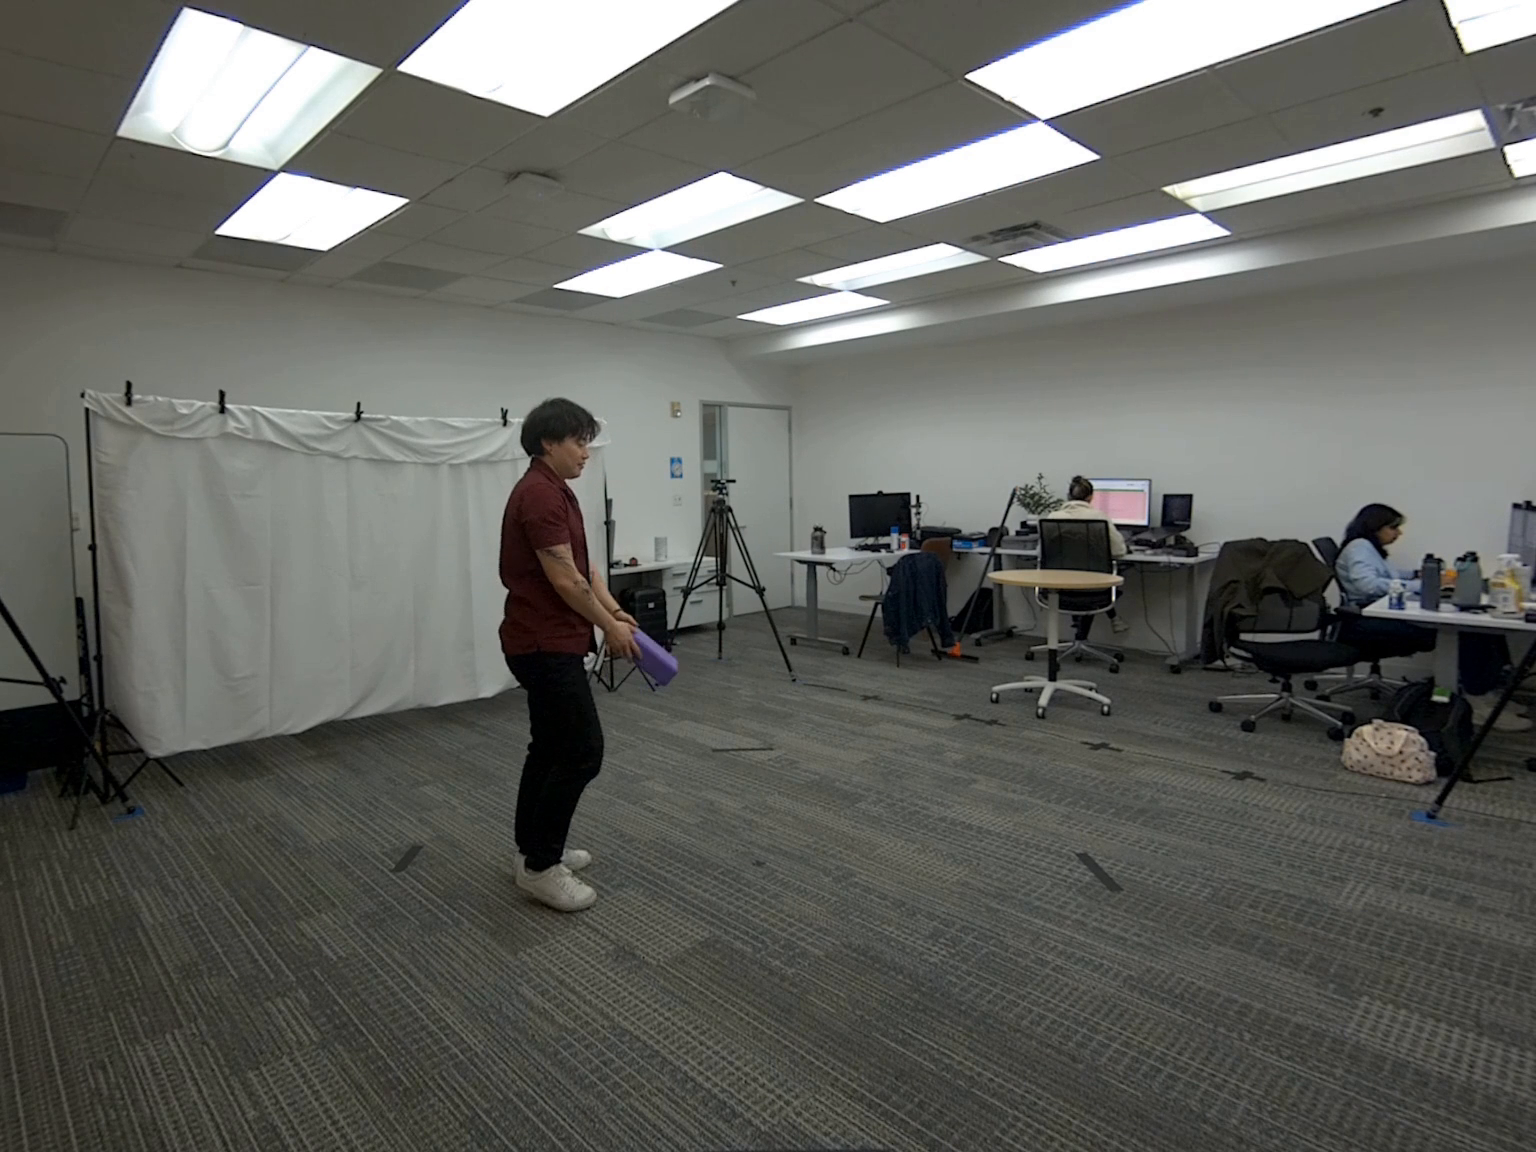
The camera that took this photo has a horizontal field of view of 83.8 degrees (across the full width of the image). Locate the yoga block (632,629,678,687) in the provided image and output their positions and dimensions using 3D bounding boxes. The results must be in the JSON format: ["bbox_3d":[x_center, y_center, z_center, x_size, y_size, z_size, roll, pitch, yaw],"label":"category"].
[{"bbox_3d":[-0.421,0.264,3.001,0.076,0.228,0.150,-45,6,8],"label":"yoga block"}]
